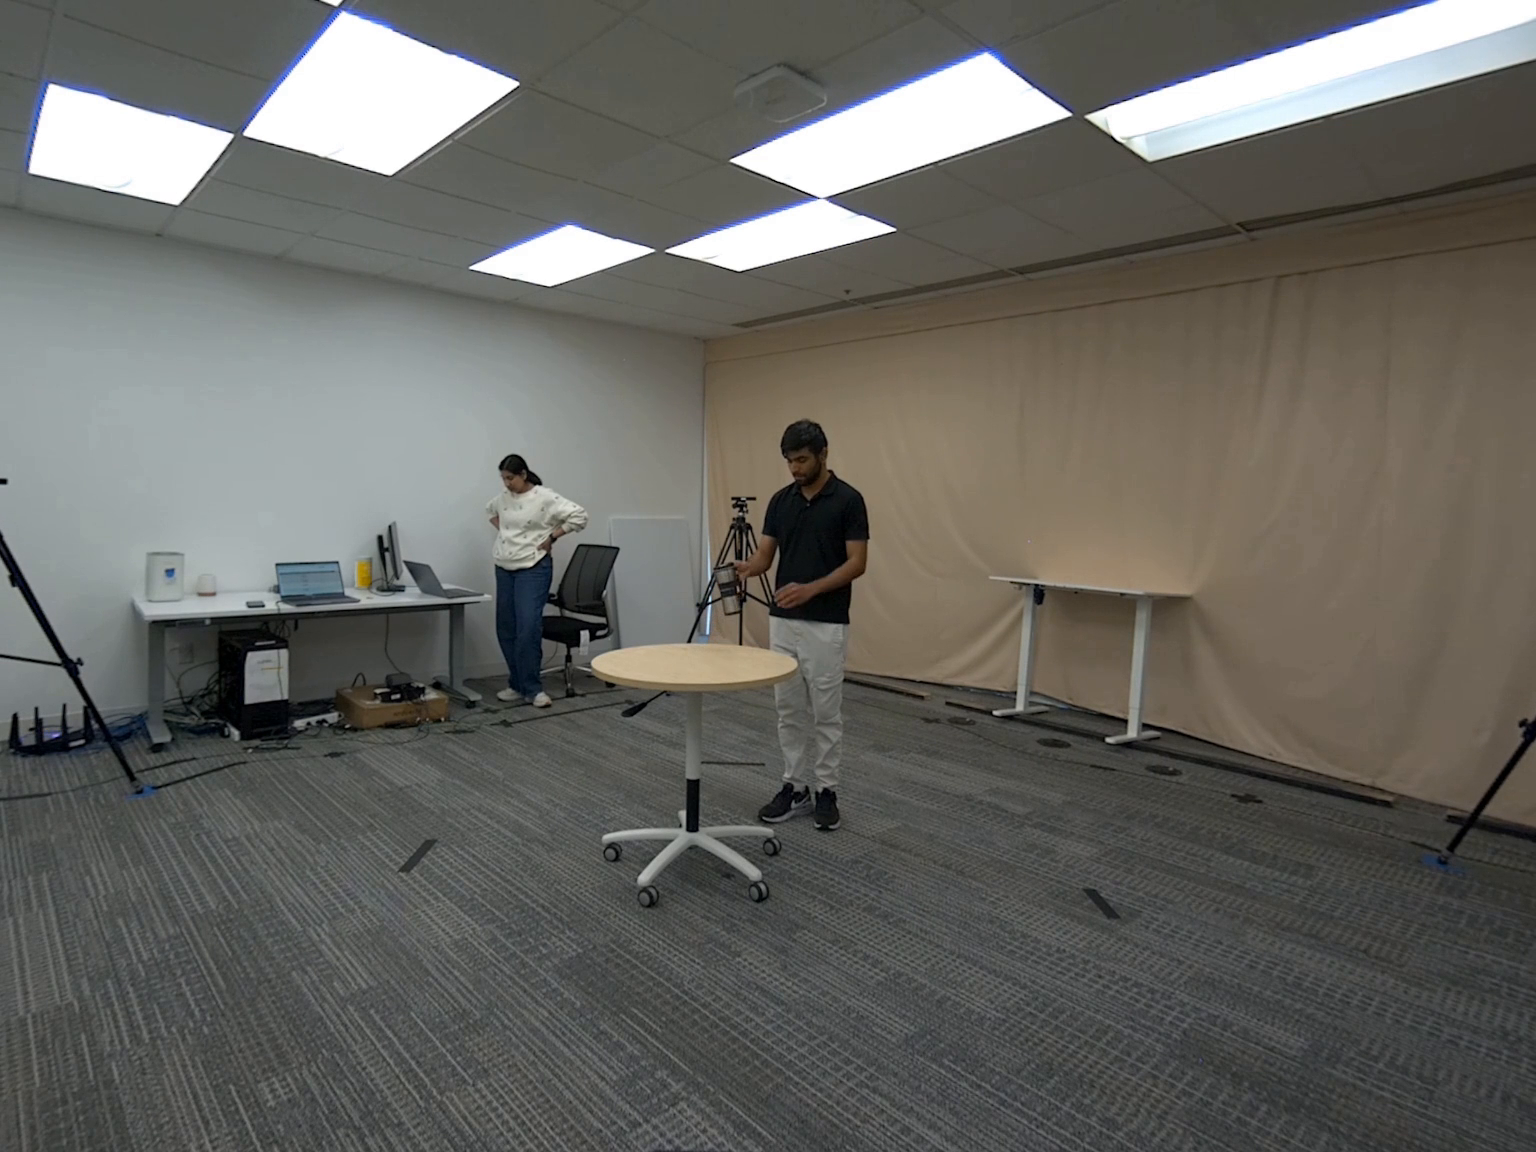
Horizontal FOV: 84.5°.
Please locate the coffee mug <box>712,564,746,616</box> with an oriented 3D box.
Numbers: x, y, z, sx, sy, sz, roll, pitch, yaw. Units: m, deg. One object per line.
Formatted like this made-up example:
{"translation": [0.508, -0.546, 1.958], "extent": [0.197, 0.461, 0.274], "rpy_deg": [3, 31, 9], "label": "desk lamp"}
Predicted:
{"translation": [-0.156, 0.057, 3.380], "extent": [0.089, 0.202, 0.121], "rpy_deg": [-12, 4, 20], "label": "coffee mug"}
